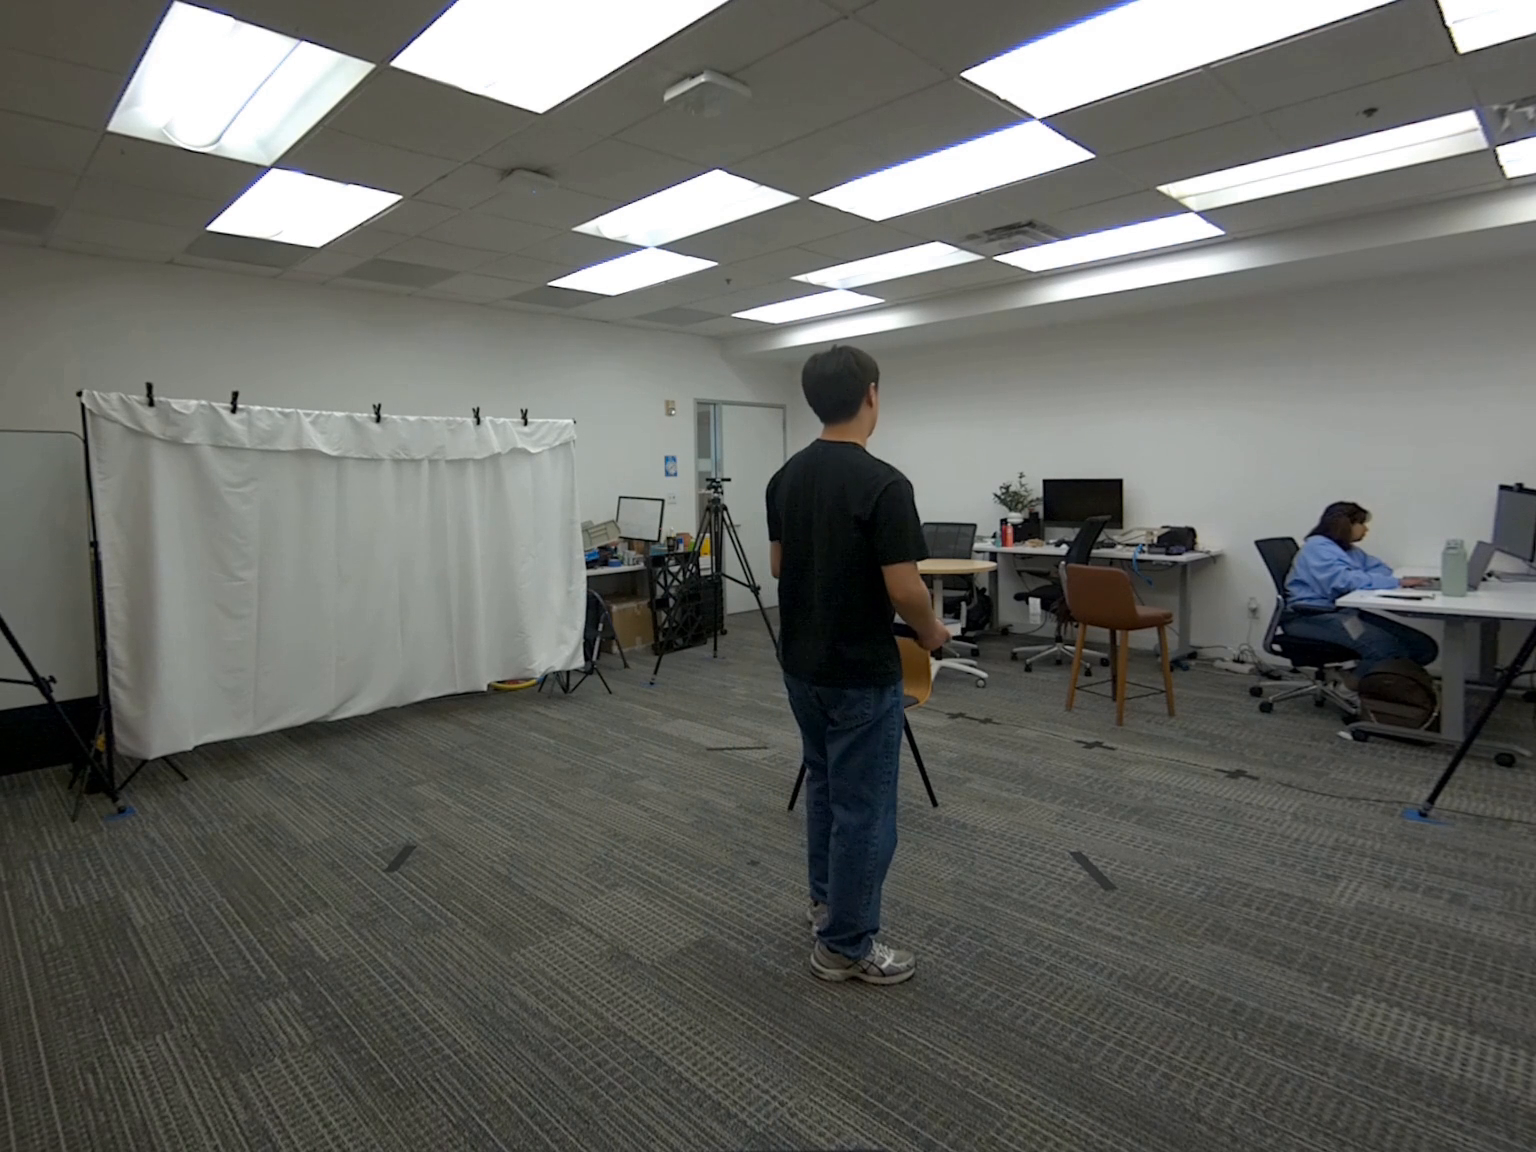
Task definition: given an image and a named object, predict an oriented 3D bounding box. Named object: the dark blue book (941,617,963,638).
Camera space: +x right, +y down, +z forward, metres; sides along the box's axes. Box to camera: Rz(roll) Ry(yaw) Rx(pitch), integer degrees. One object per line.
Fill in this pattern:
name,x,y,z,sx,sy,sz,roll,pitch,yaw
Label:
dark blue book,0.423,0.156,2.573,0.159,0.045,0.252,-4,6,-37
